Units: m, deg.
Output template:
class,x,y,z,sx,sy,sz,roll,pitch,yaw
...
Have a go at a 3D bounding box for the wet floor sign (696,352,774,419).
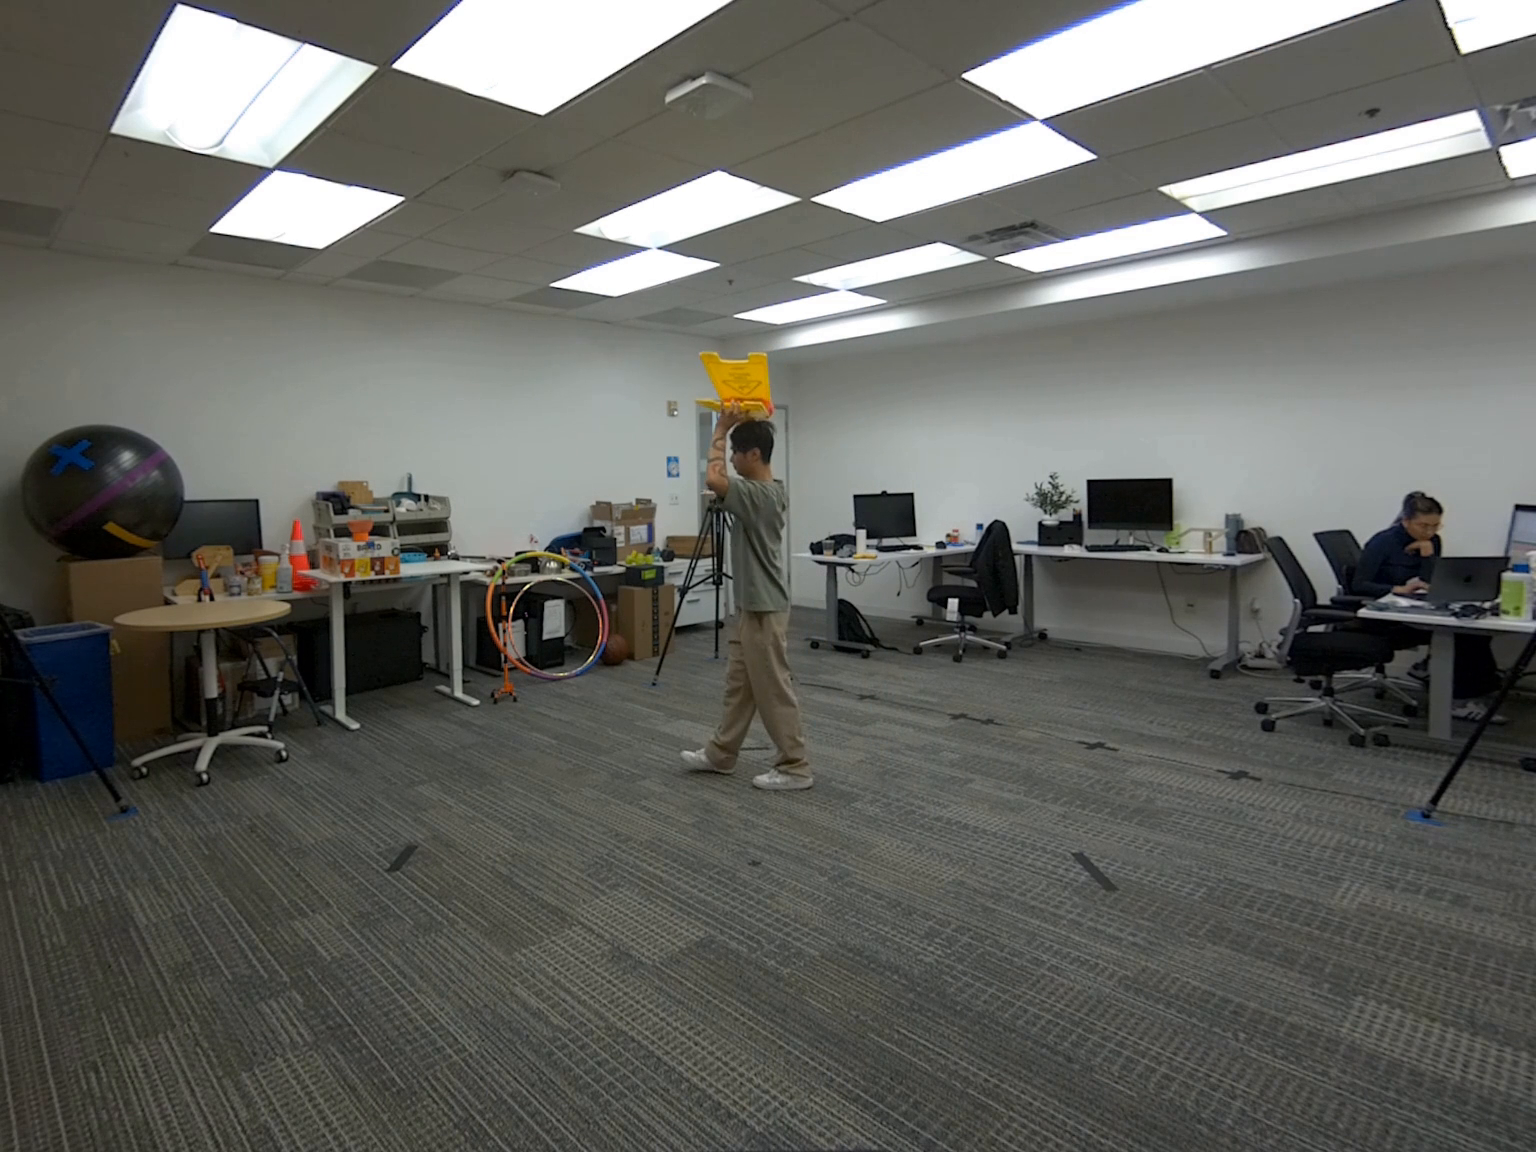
class,x,y,z,sx,sy,sz,roll,pitch,yaw
wet floor sign,-0.118,-0.788,3.804,0.285,0.290,0.639,4,-2,7
